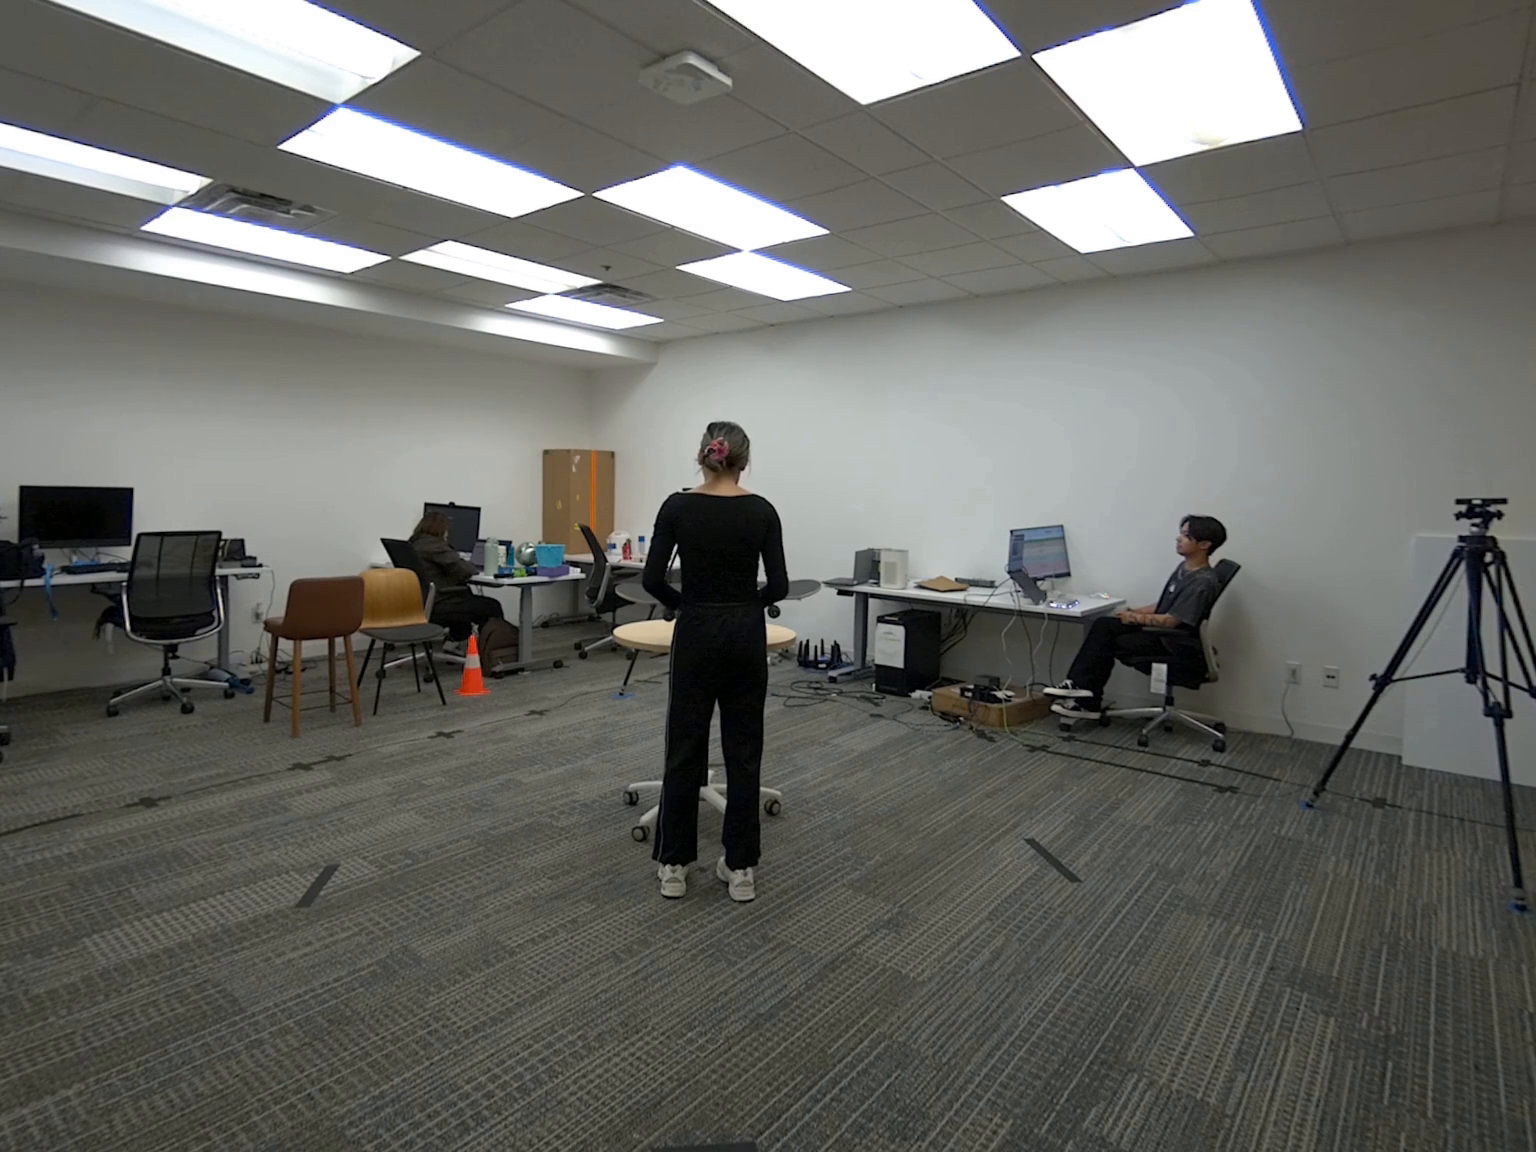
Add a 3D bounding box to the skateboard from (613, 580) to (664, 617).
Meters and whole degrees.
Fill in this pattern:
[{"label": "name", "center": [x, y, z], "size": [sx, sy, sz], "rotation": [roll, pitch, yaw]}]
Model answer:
[{"label": "skateboard", "center": [-0.194, 0.090, 3.250], "size": [0.779, 0.109, 0.198], "rotation": [-1, 17, -8]}]
